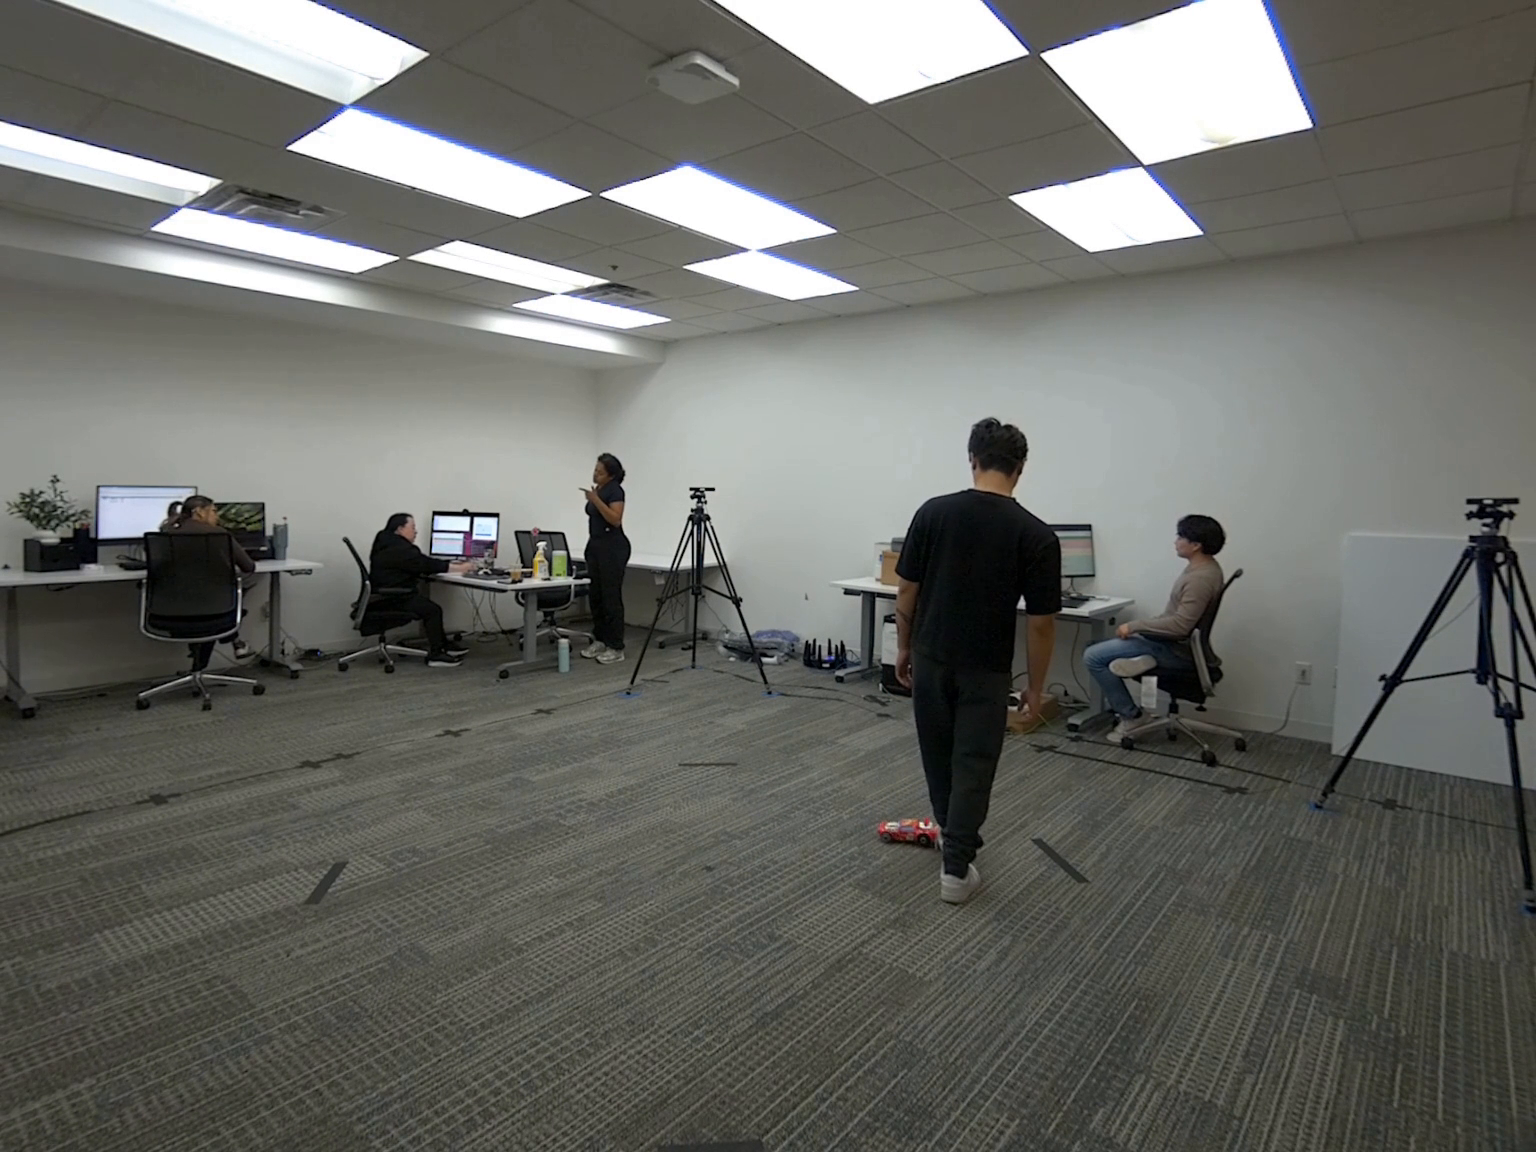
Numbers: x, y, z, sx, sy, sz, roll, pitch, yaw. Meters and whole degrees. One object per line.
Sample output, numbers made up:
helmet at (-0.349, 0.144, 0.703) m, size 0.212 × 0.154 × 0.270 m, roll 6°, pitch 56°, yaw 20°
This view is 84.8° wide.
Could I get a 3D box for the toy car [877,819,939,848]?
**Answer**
toy car at (0.564, 1.018, 3.400) m, size 0.258 × 0.083 × 0.128 m, roll -11°, pitch 1°, yaw 15°
